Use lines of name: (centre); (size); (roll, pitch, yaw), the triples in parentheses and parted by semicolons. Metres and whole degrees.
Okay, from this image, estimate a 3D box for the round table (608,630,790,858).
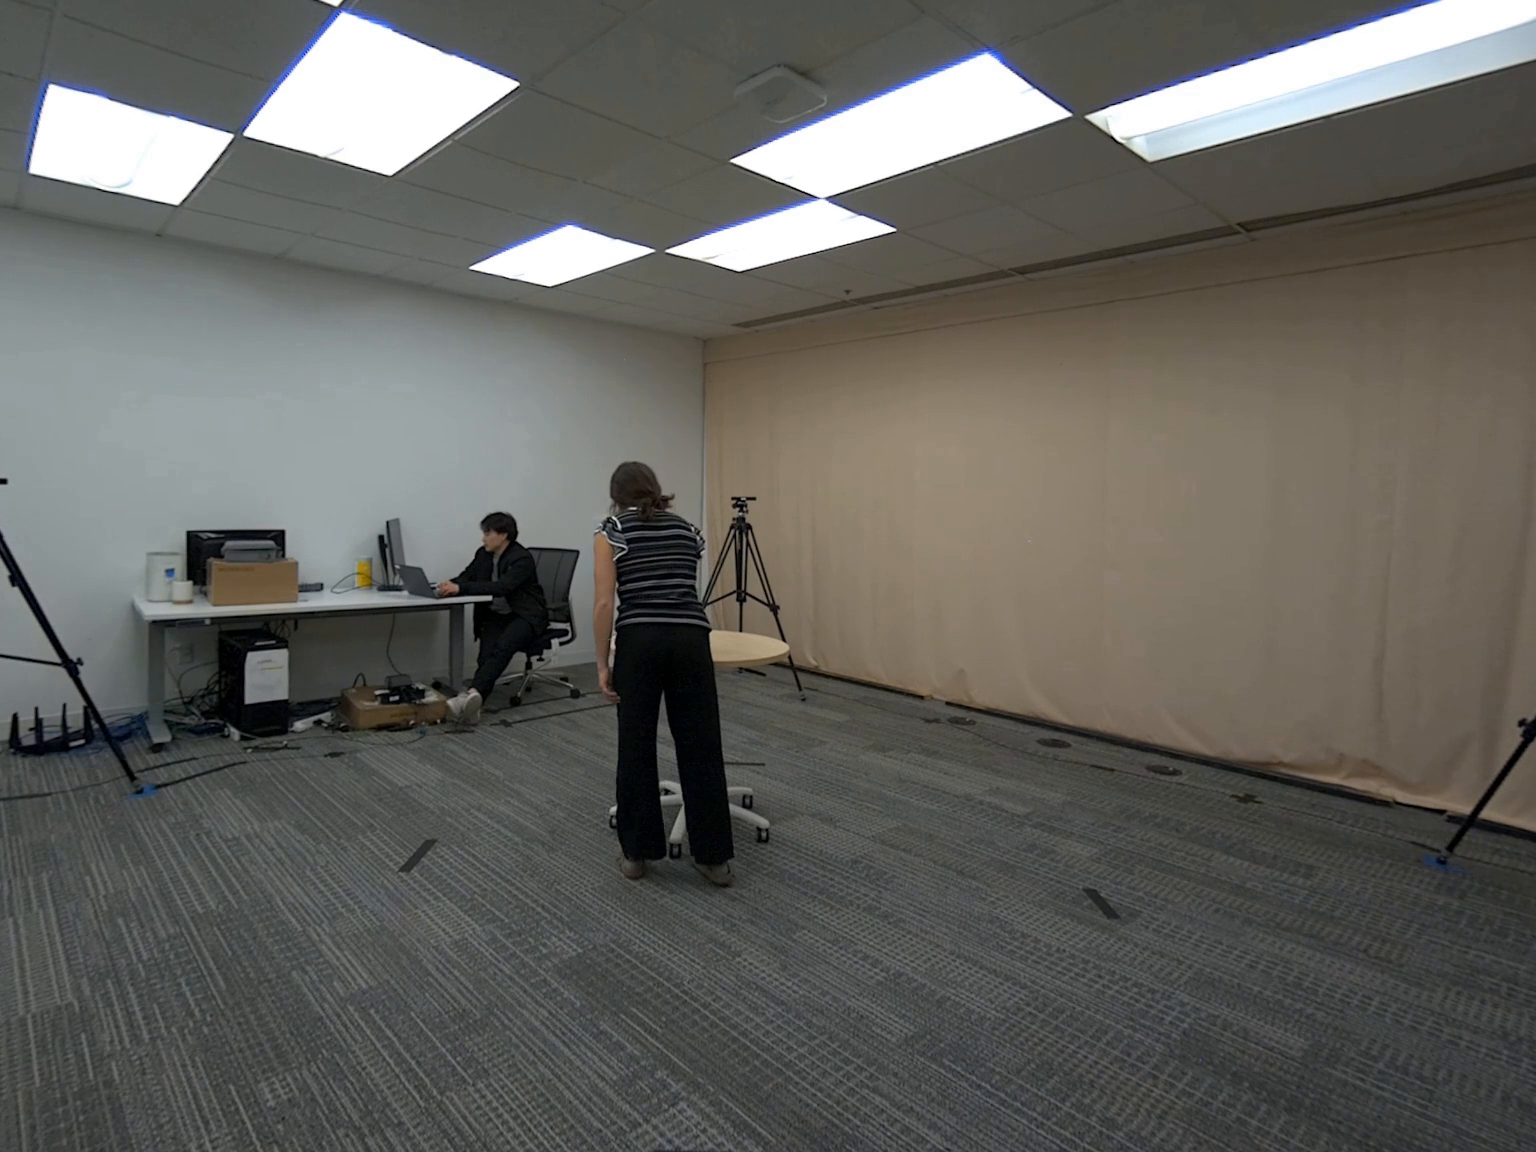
round table: (-0.314, 0.677, 3.554); (0.763, 0.792, 0.766); (2, 4, -2)
